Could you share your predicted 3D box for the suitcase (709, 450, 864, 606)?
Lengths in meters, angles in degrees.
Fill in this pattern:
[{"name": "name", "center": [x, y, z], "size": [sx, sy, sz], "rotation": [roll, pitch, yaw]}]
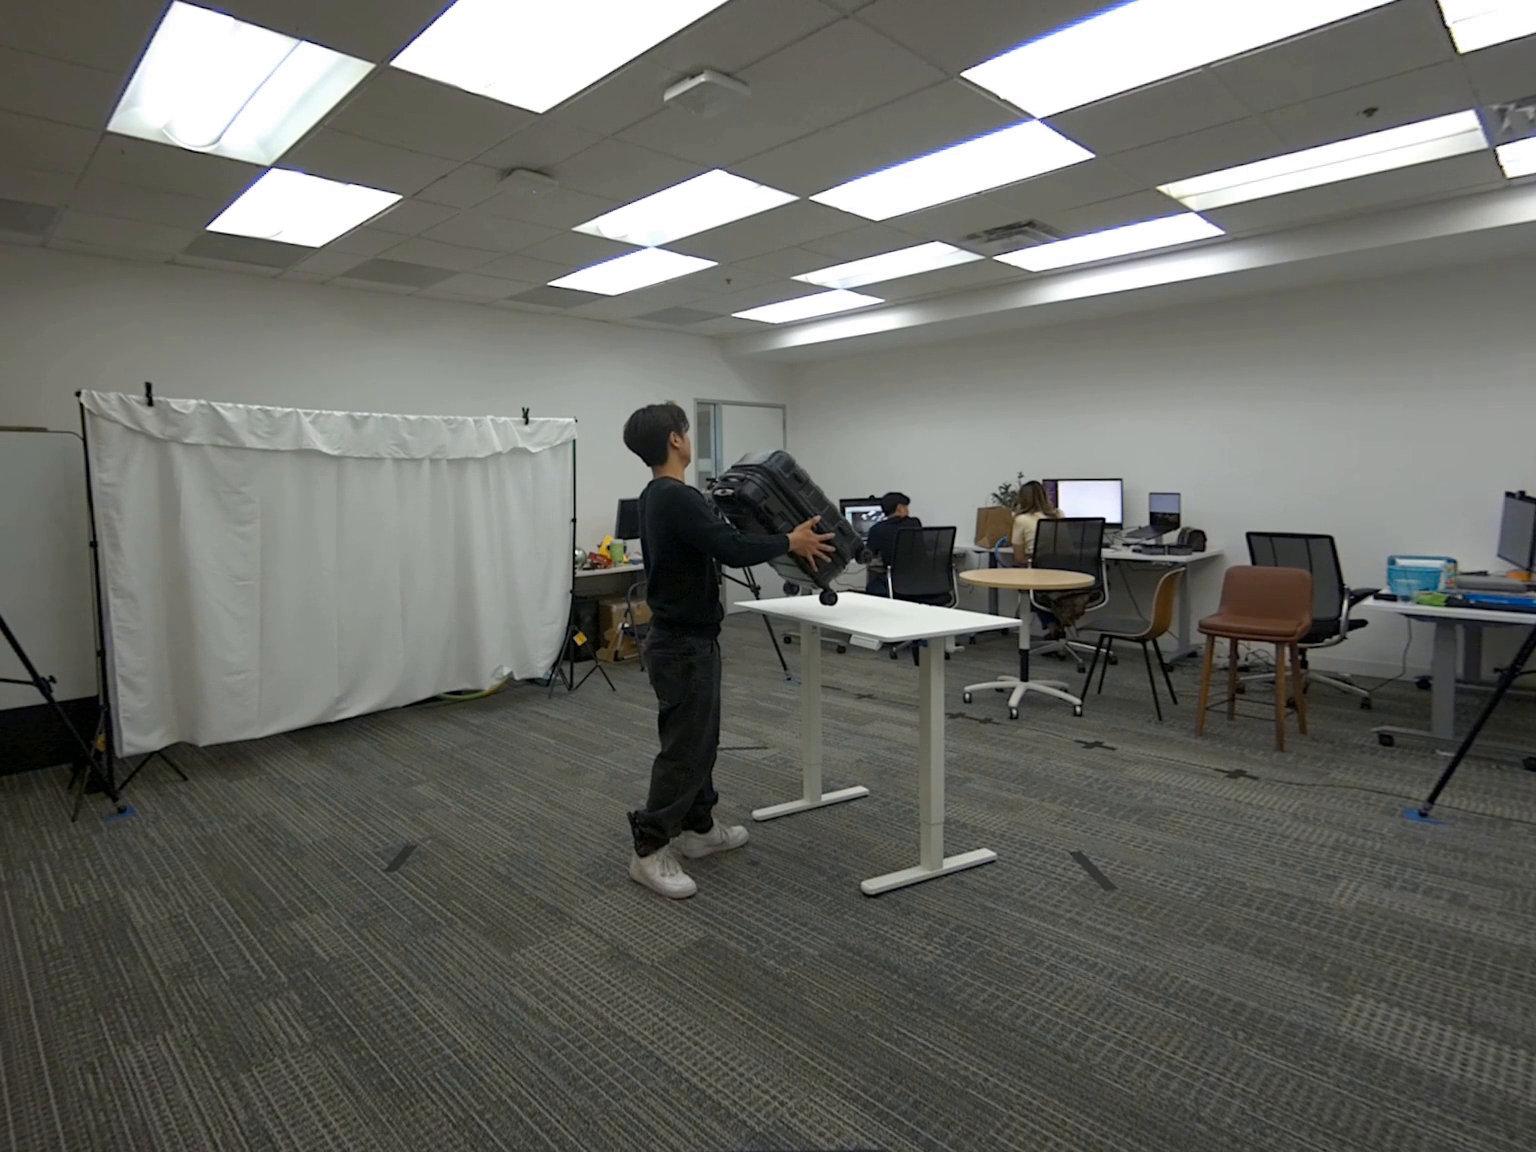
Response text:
[{"name": "suitcase", "center": [0.068, -0.197, 3.100], "size": [0.248, 0.537, 0.384], "rotation": [-45, 19, -14]}]
